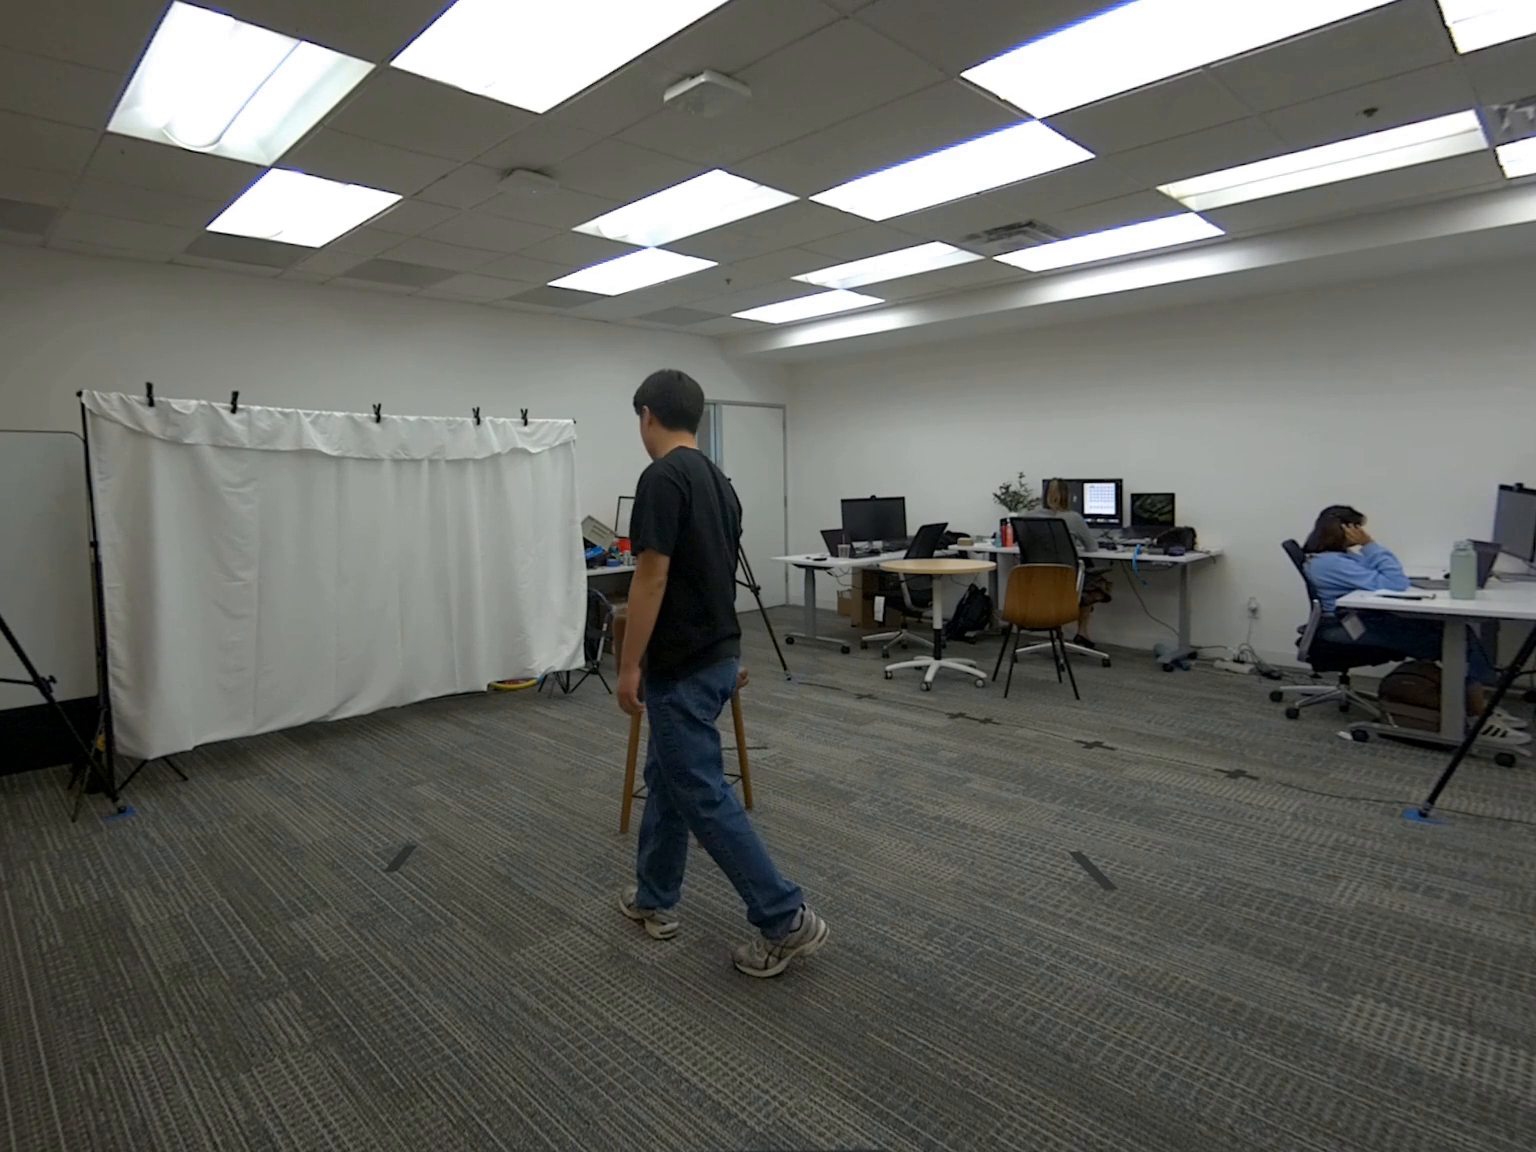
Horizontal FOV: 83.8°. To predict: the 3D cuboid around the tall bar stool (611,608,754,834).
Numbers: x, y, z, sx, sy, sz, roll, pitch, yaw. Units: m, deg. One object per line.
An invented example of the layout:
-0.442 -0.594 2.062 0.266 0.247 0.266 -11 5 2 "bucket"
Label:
-0.342 0.567 3.484 0.467 0.885 0.459 1 6 25 "tall bar stool"
